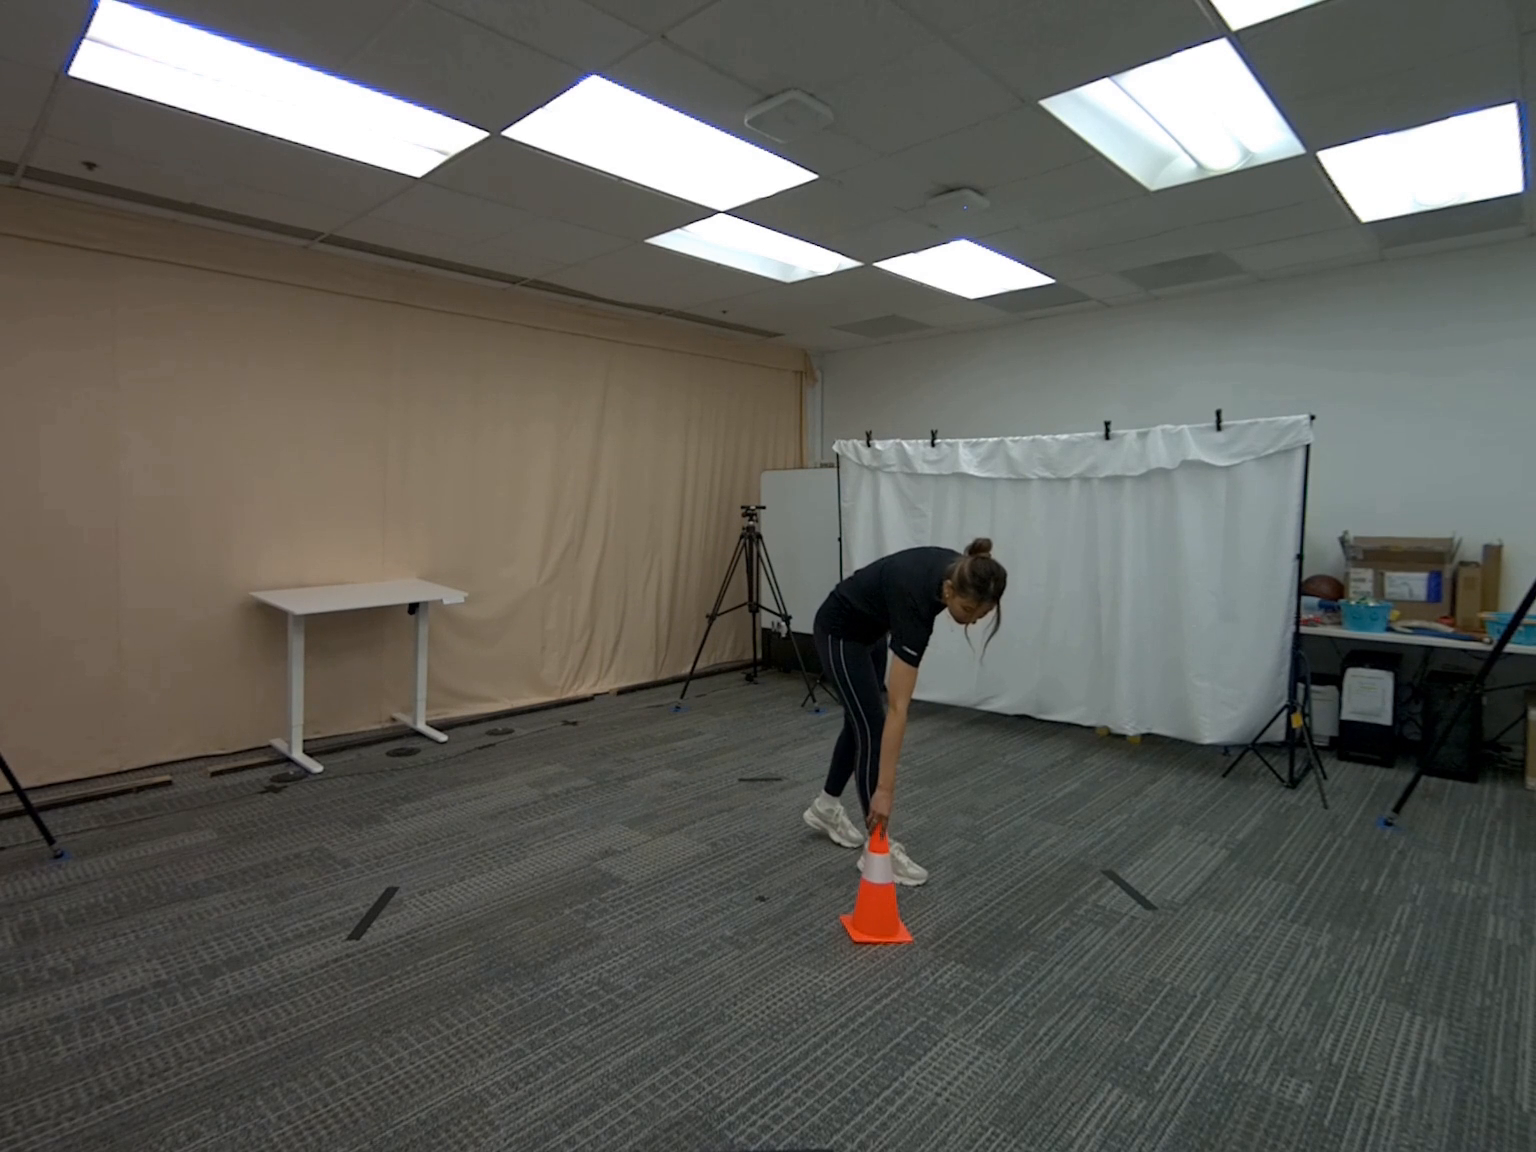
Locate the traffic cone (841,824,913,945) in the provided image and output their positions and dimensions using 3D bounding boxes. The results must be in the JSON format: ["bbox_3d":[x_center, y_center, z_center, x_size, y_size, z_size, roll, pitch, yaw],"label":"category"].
[{"bbox_3d":[0.364,0.971,2.775,0.201,0.384,0.207,2,0,-11],"label":"traffic cone"}]
